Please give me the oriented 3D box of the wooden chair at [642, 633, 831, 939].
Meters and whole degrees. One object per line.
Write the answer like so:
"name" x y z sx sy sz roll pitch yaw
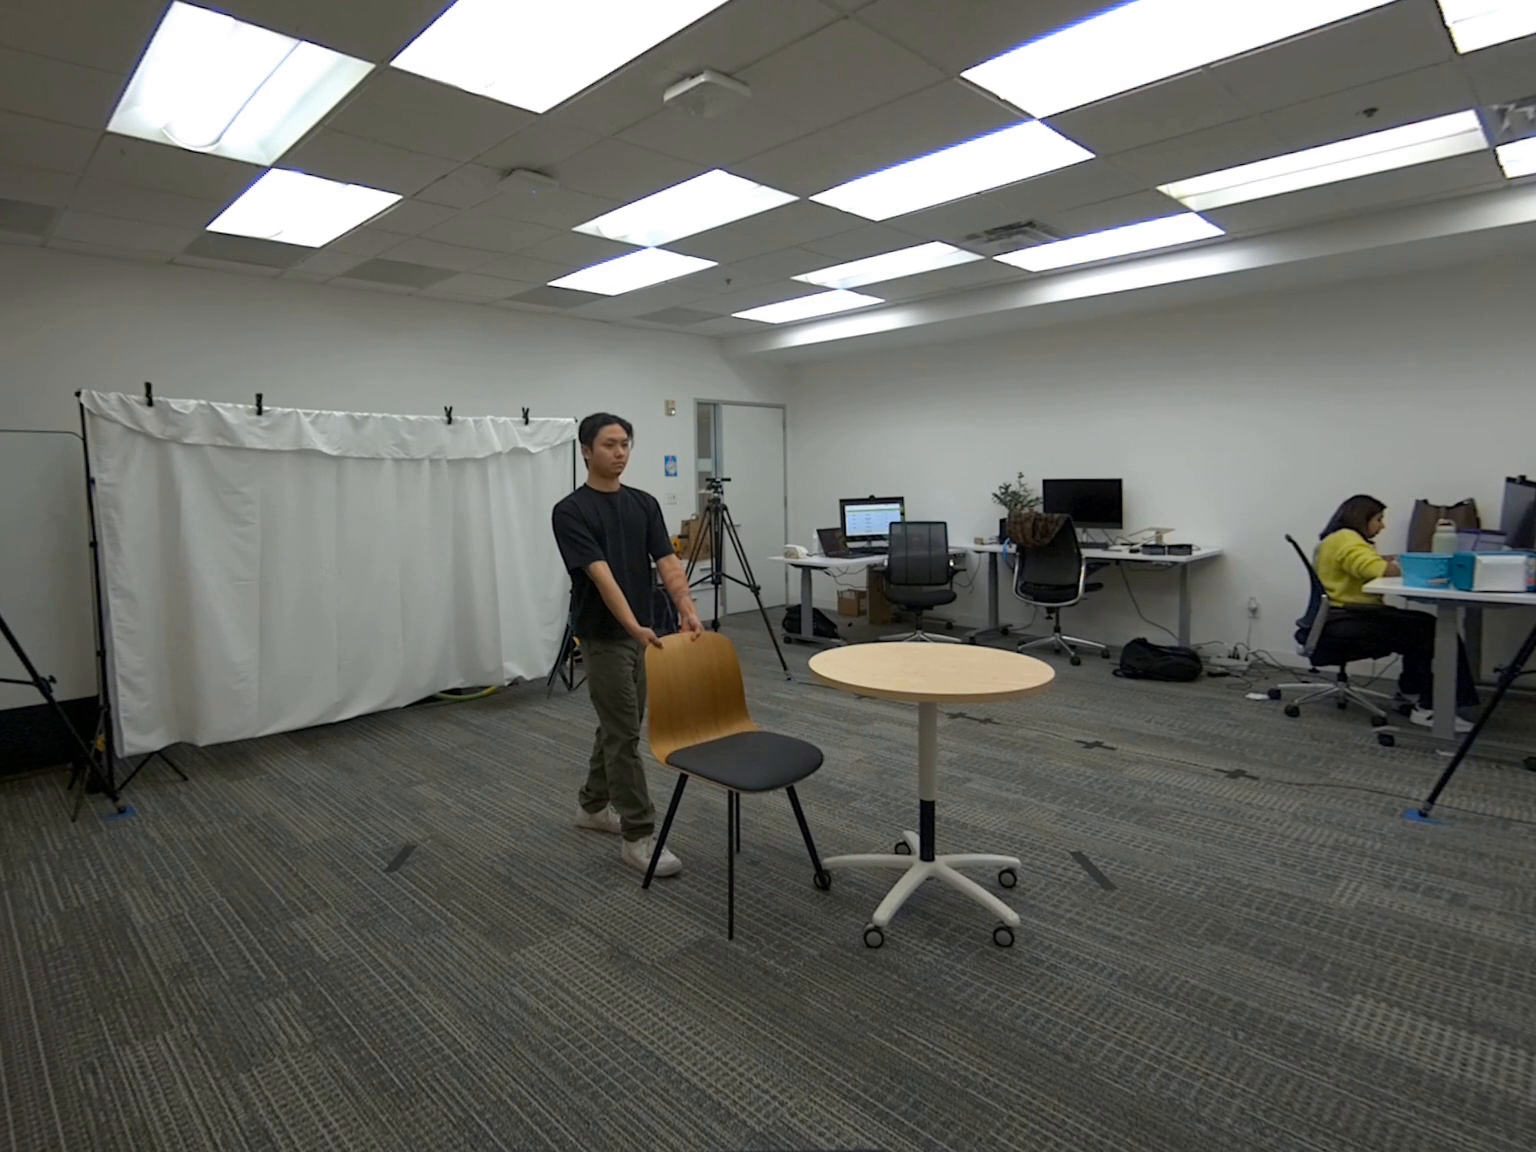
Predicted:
"wooden chair" -0.110 0.641 2.862 0.465 0.877 0.537 -5 1 -43
